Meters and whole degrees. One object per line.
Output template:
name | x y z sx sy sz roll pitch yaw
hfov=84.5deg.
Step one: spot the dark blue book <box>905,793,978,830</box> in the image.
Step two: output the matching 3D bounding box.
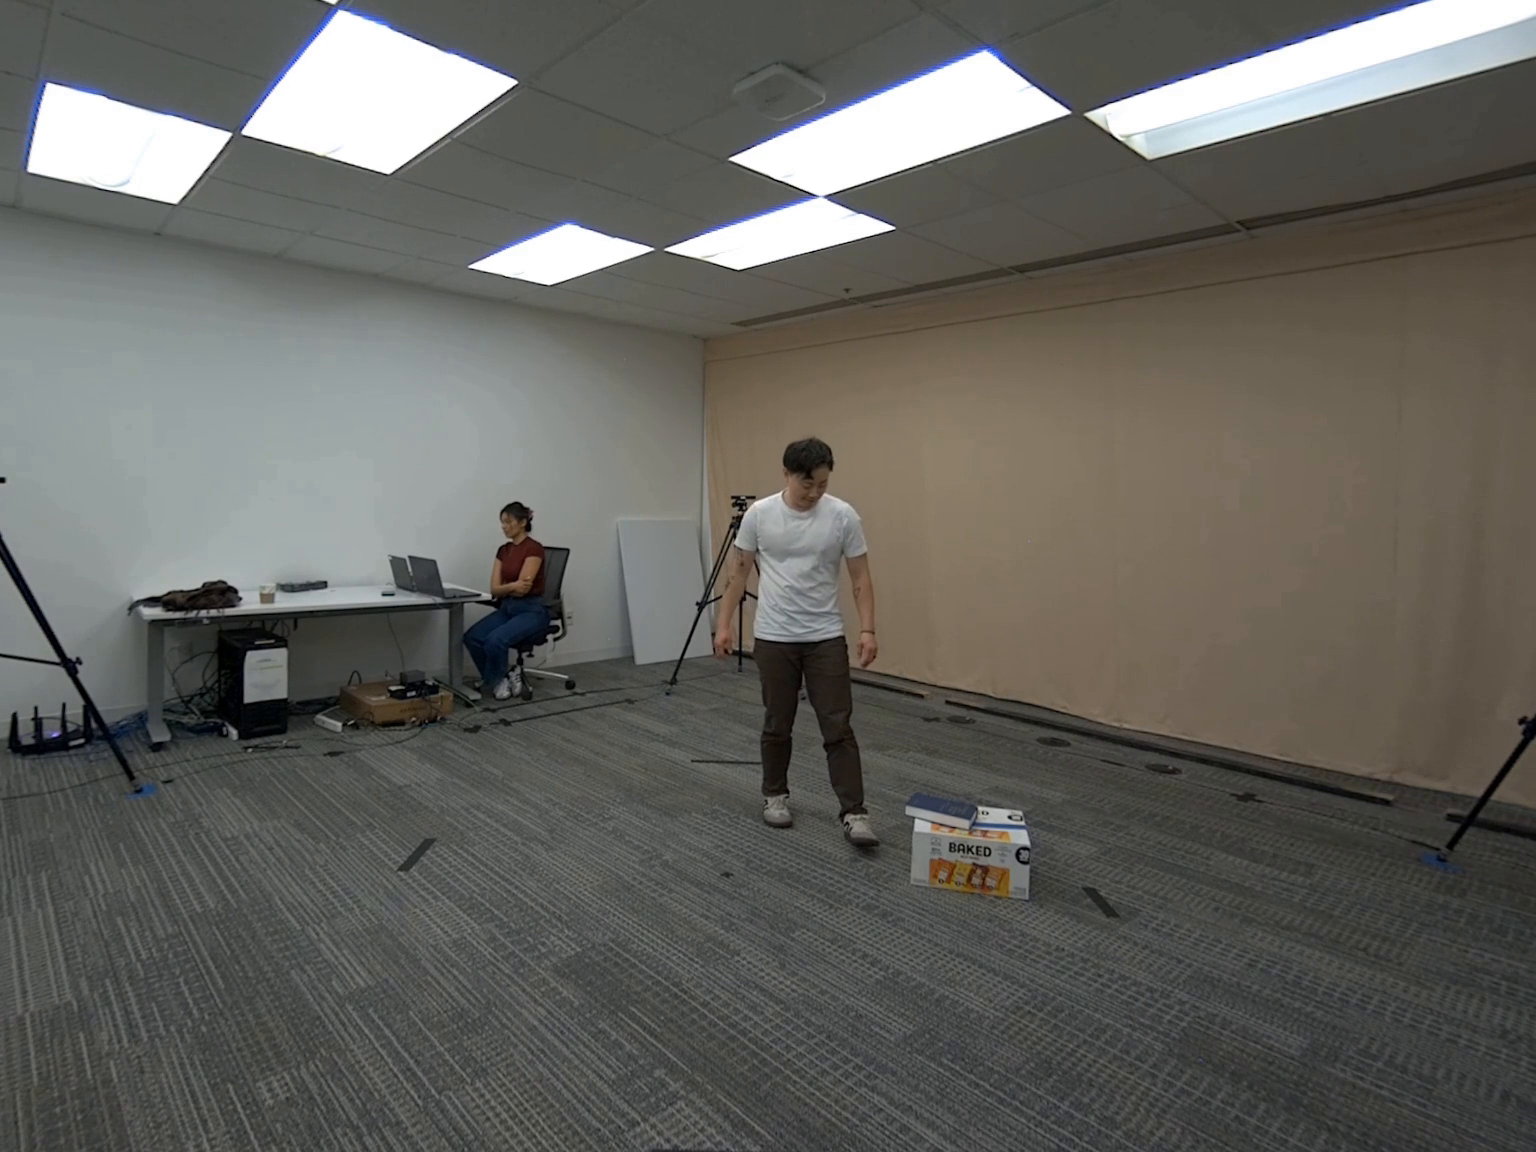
dark blue book | 0.659 0.896 3.198 0.250 0.045 0.161 7 6 24
